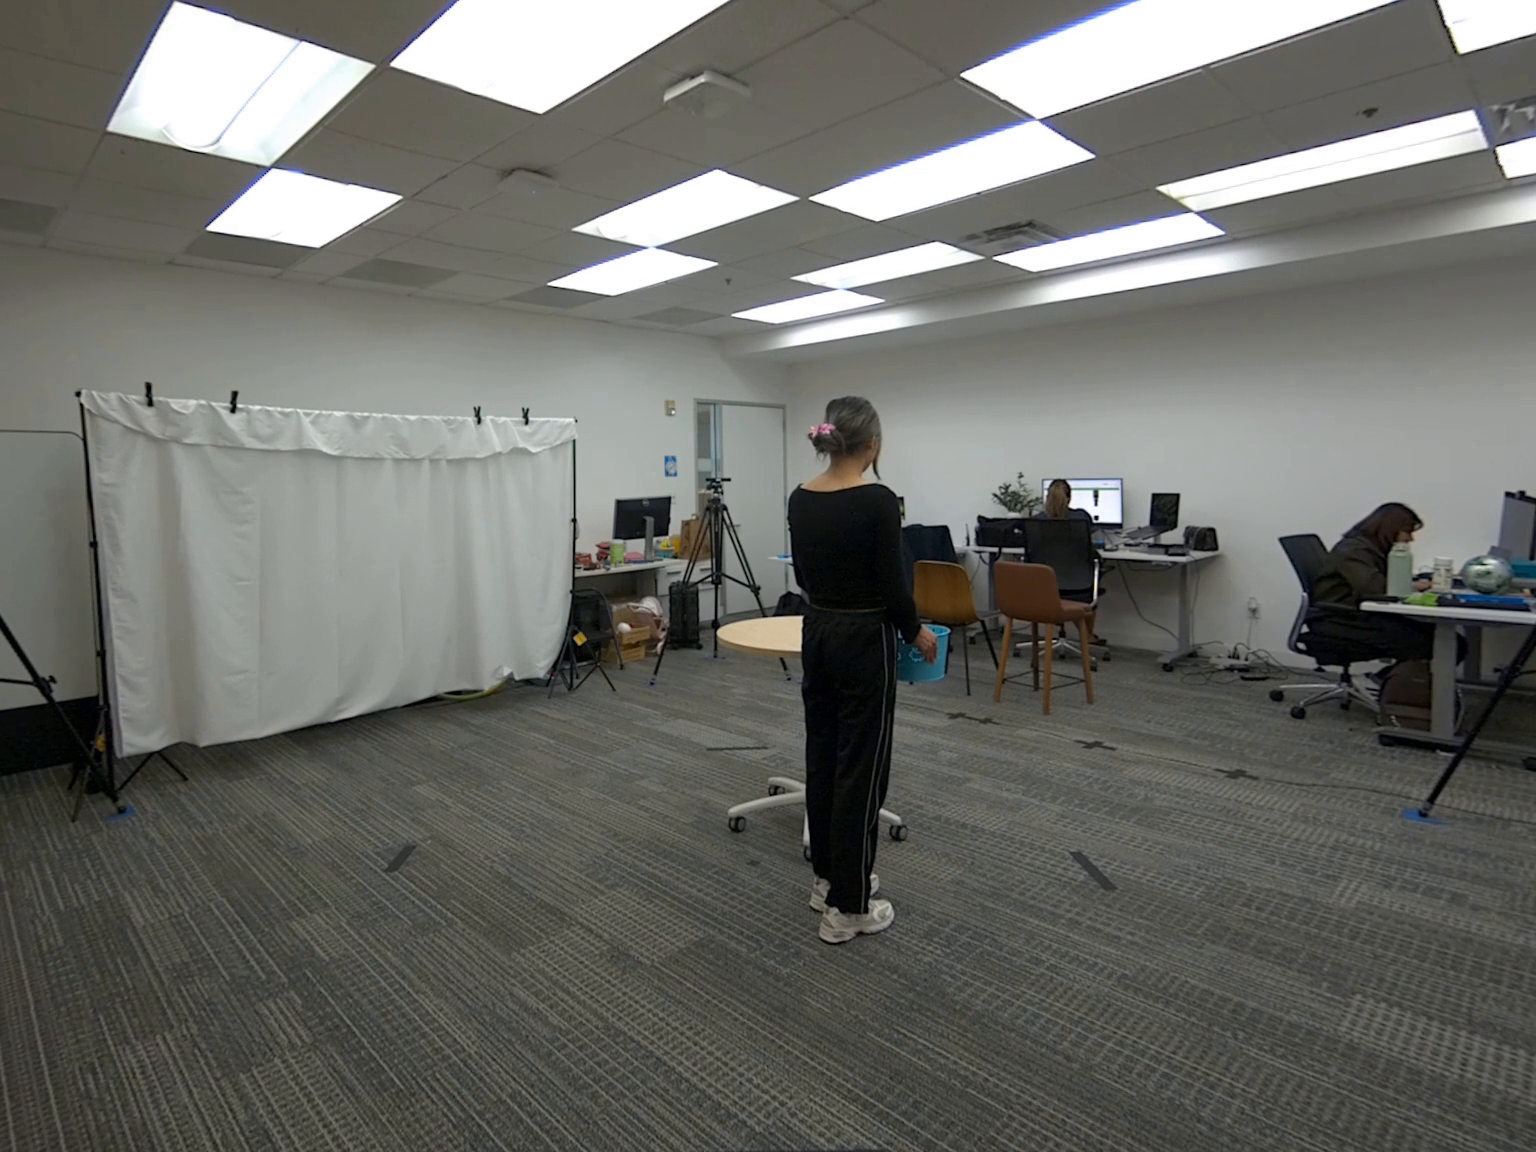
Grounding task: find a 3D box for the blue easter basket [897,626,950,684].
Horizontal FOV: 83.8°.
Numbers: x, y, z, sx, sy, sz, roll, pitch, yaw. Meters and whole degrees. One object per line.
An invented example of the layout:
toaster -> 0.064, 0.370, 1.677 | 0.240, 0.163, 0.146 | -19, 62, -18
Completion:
blue easter basket -> 0.499, 0.261, 2.862 | 0.243, 0.155, 0.245 | -3, 6, -1
